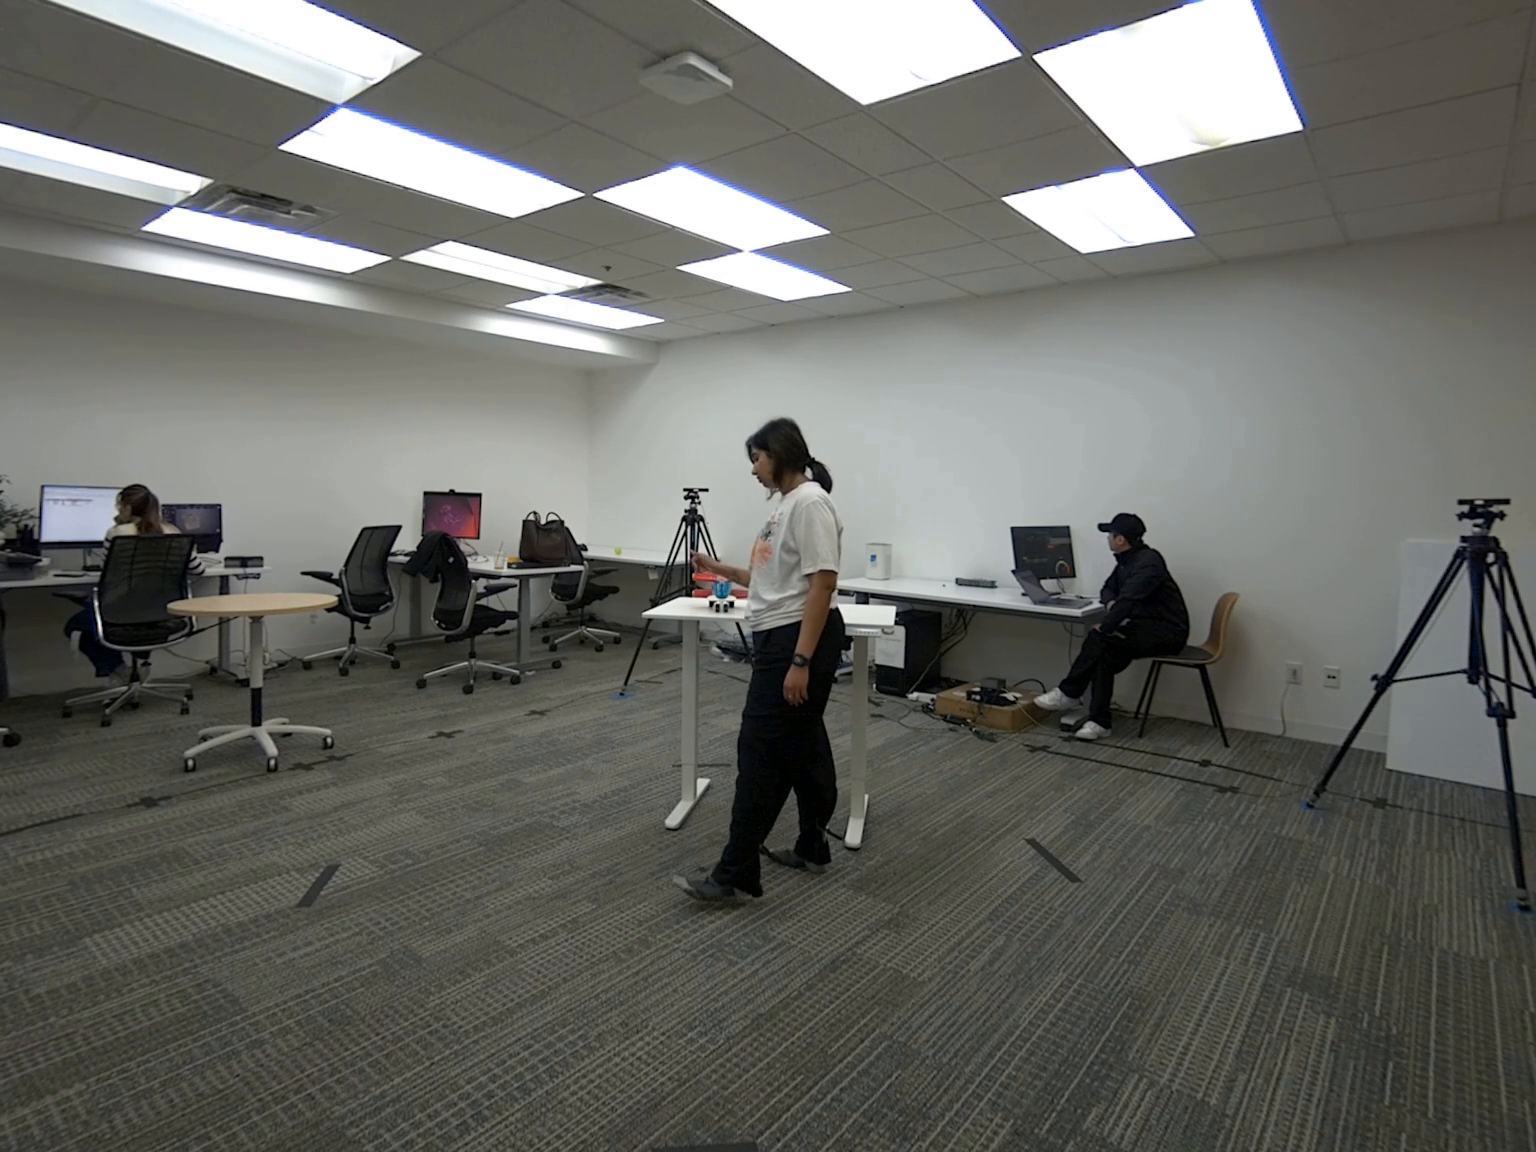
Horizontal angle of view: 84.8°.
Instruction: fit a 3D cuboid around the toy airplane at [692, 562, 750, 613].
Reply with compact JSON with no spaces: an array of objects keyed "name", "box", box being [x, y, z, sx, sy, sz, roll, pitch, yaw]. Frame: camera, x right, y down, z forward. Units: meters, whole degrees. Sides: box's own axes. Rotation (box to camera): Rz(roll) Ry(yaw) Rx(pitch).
[{"name":"toy airplane","box":[-0.191,0.063,3.634,0.244,0.156,0.267,-1,3,-30]}]
